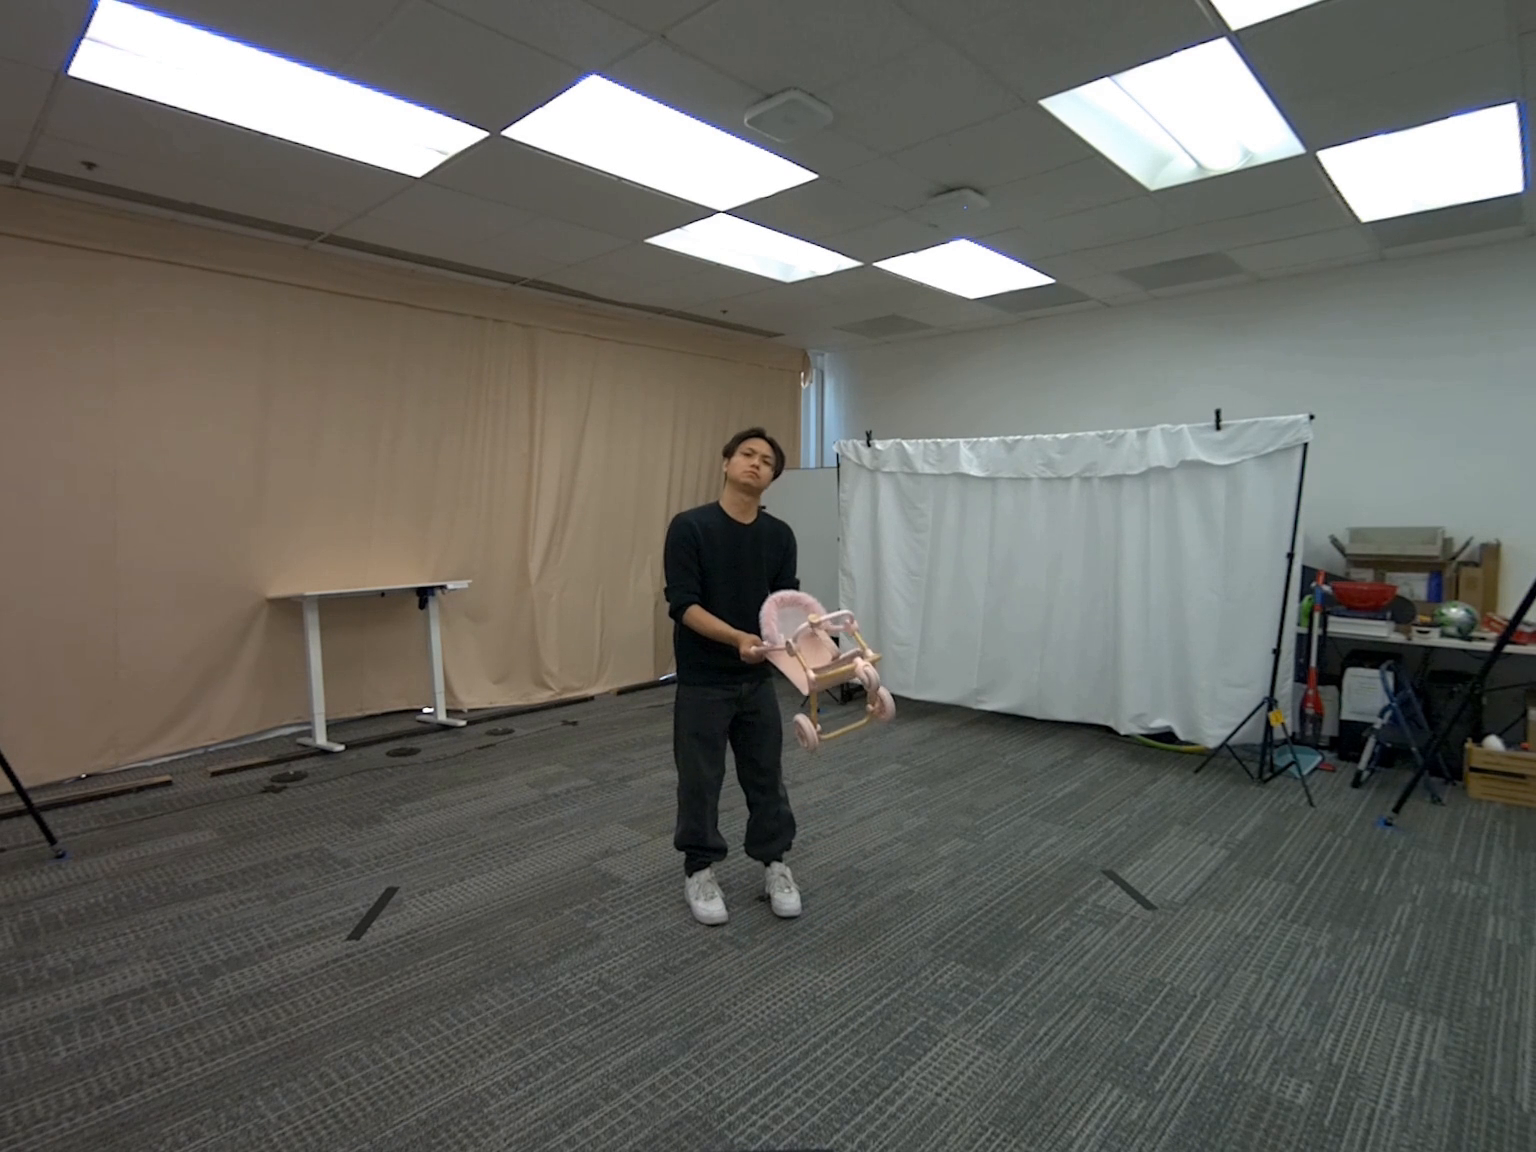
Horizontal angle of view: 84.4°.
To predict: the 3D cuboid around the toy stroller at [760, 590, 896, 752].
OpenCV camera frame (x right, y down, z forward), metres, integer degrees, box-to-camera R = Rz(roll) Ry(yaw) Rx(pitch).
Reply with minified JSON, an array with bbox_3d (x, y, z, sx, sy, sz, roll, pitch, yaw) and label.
[{"bbox_3d":[0.146,0.233,2.376,0.277,0.335,0.553,-19,45,-19],"label":"toy stroller"}]
